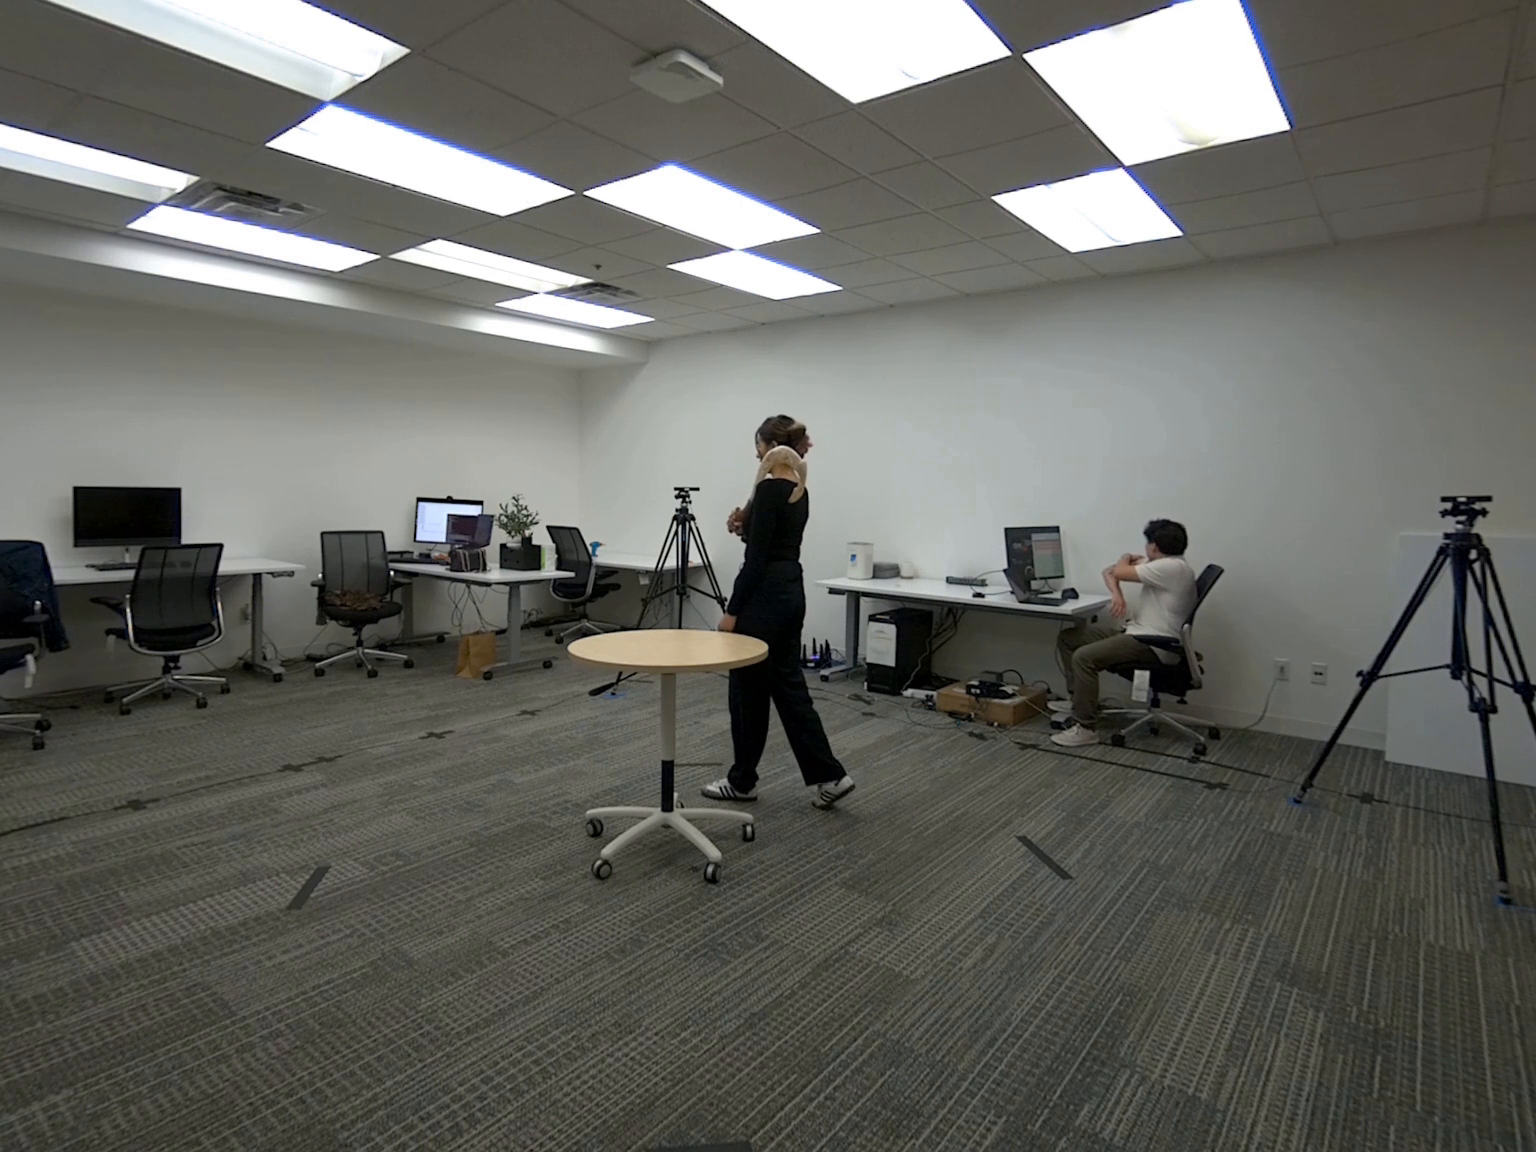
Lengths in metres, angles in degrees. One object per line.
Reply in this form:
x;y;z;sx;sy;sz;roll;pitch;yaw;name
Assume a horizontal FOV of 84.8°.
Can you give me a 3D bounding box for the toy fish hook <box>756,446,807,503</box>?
-0.013;-0.334;3.645;0.230;0.504;0.047;48;33;18;toy fish hook
